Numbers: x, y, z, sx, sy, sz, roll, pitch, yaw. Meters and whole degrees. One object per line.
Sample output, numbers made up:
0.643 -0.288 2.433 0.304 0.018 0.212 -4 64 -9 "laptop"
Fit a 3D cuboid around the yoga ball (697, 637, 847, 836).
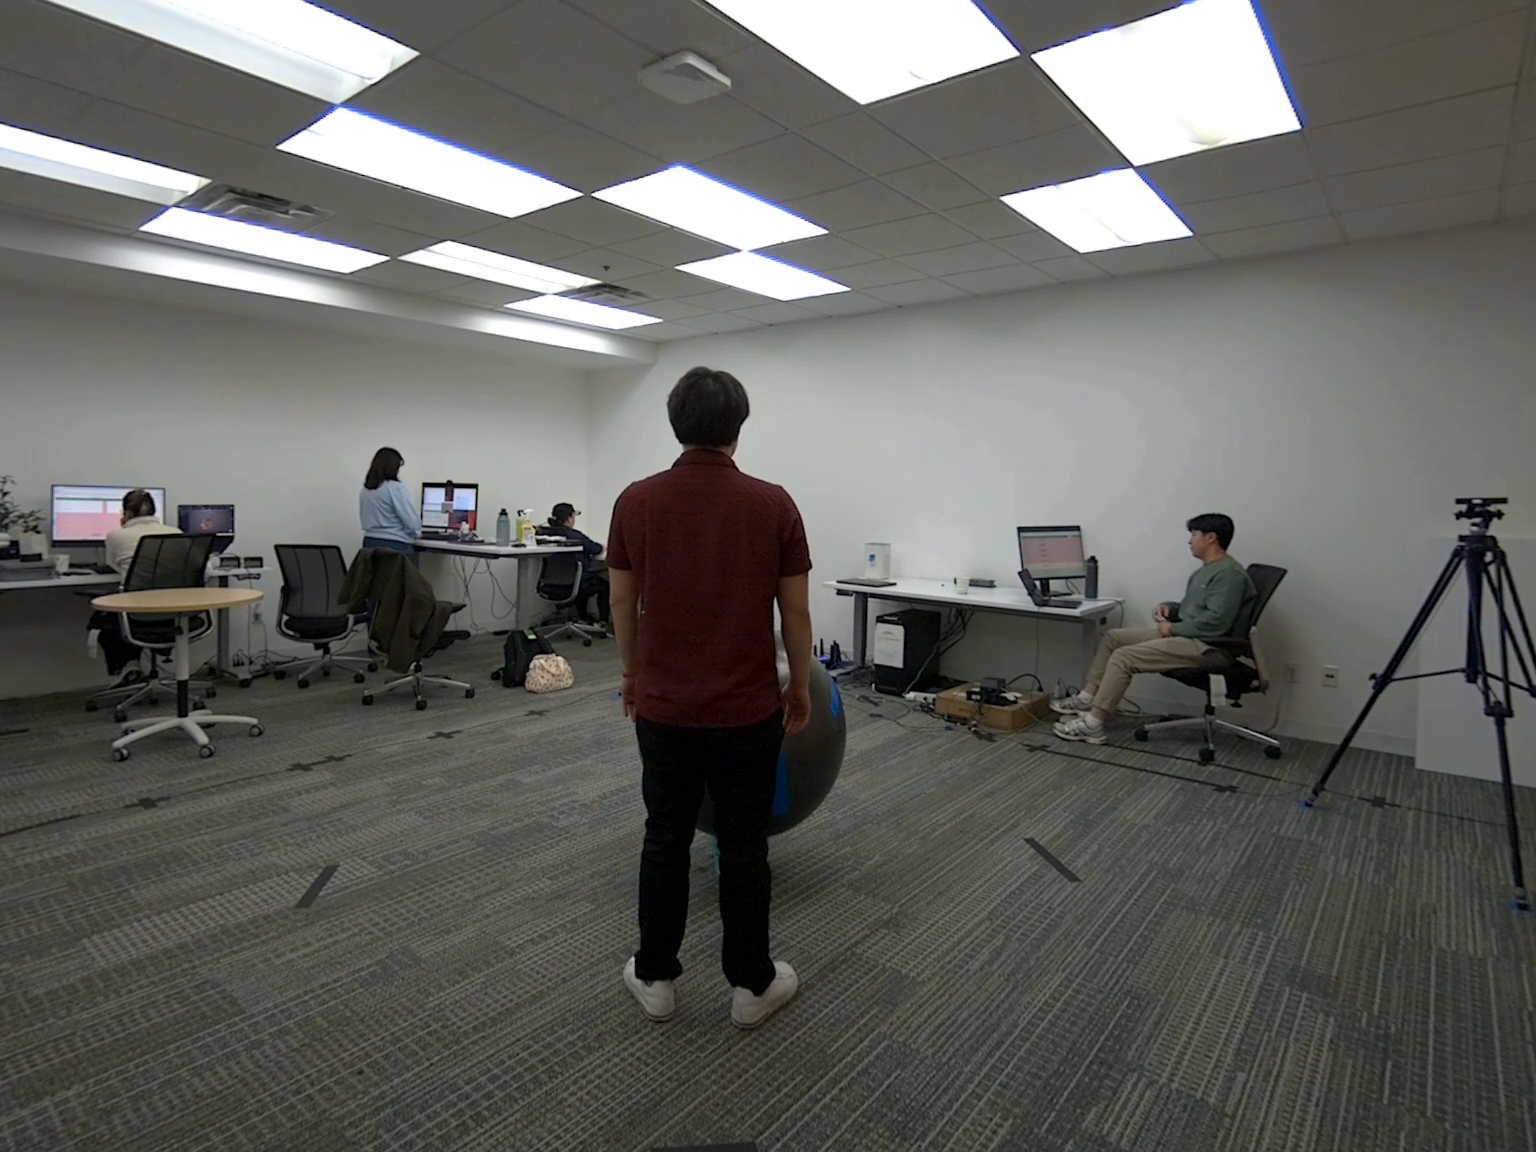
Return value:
-0.109 0.556 3.099 0.757 0.756 0.762 1 4 -2 "yoga ball"
